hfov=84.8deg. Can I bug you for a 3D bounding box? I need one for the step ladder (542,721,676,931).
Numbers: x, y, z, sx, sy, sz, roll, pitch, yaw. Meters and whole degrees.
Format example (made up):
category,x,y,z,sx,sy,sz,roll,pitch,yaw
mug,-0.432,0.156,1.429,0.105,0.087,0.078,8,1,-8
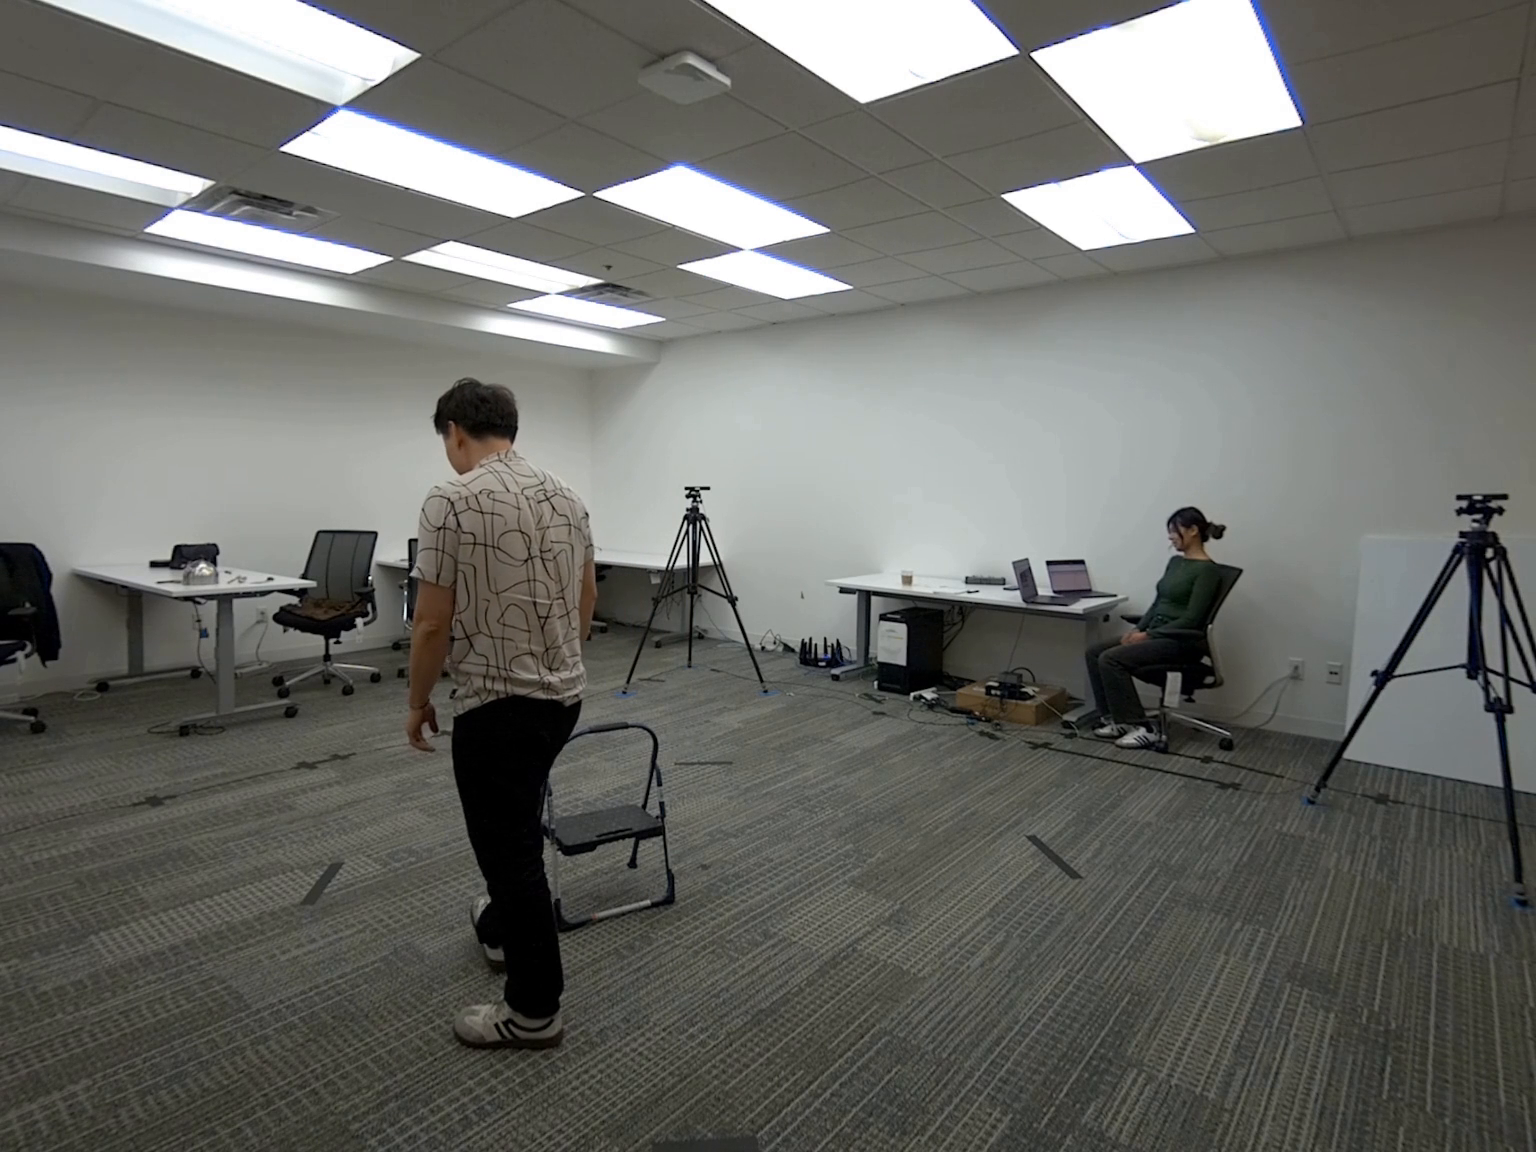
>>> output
category,x,y,z,sx,sy,sz,roll,pitch,yaw
step ladder,-0.579,0.779,2.873,0.418,0.604,0.360,-1,4,-33
